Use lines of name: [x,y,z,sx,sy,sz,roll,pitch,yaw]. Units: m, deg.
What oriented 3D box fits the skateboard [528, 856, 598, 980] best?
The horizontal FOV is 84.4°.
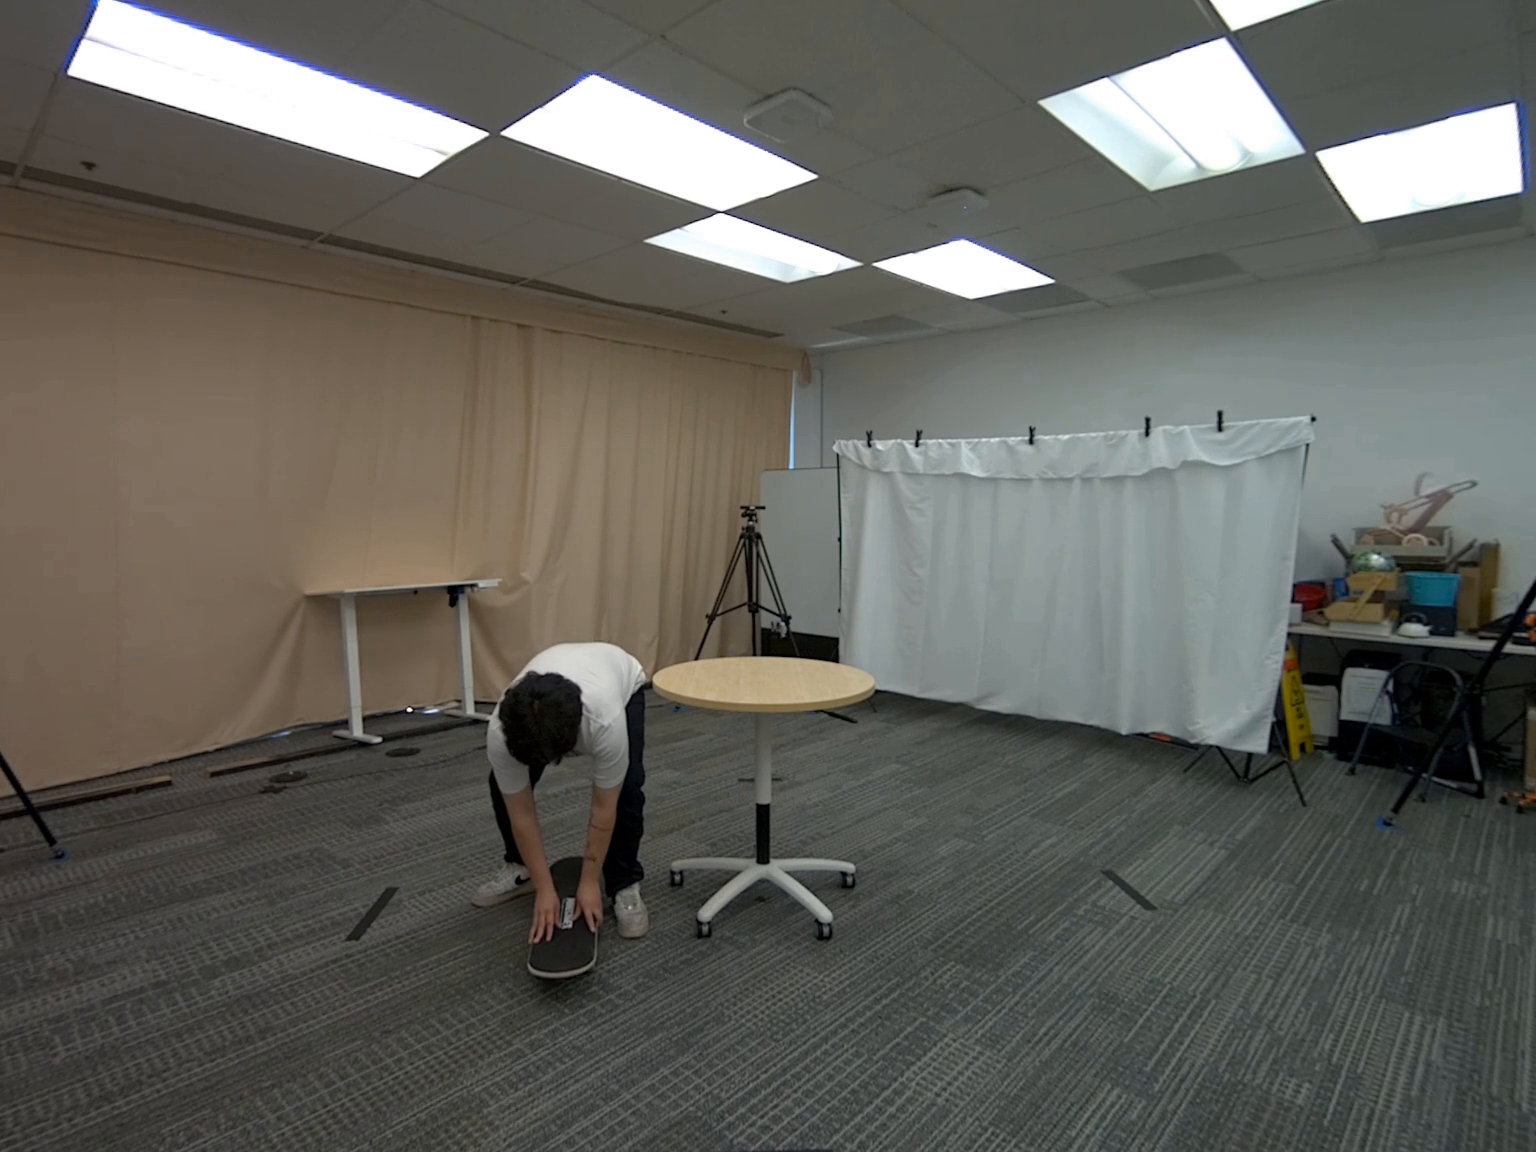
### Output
skateboard: [-0.644,1.119,2.702,0.192,0.110,0.794,-1,4,-10]
